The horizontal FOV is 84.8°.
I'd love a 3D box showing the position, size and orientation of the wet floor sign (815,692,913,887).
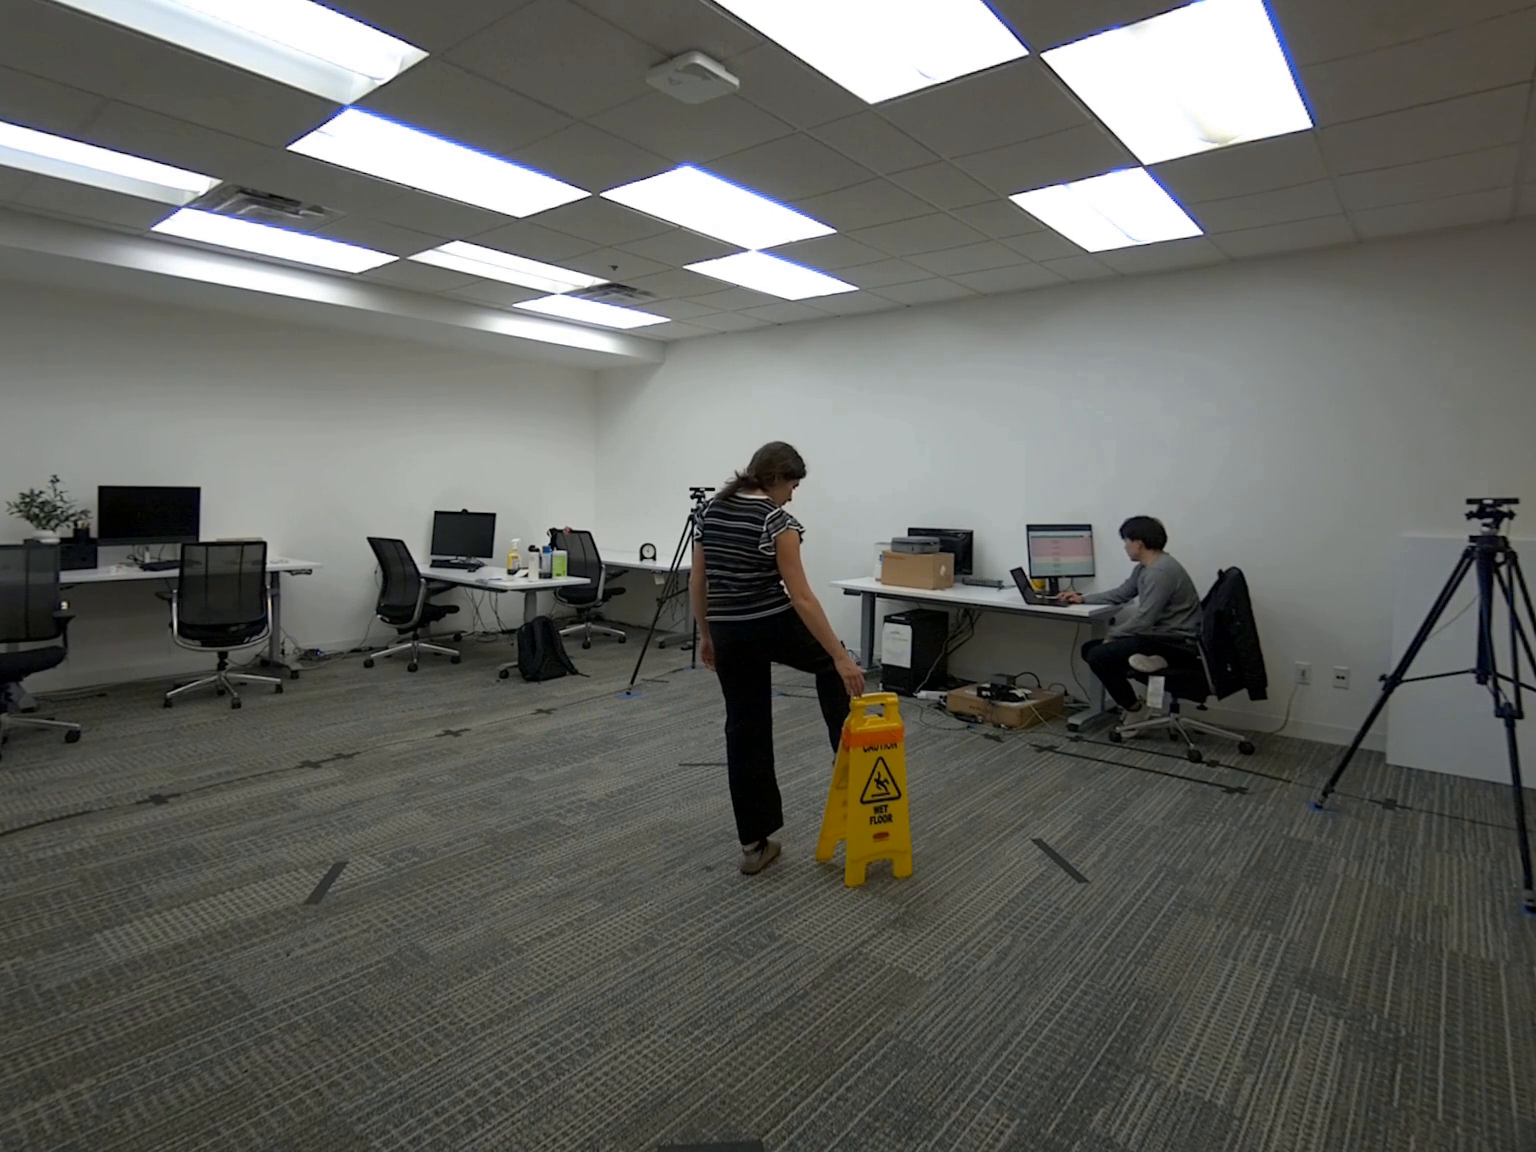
[{"bbox_3d":[0.353,0.746,3.105,0.275,0.642,0.298,3,7,-25],"label":"wet floor sign"}]
